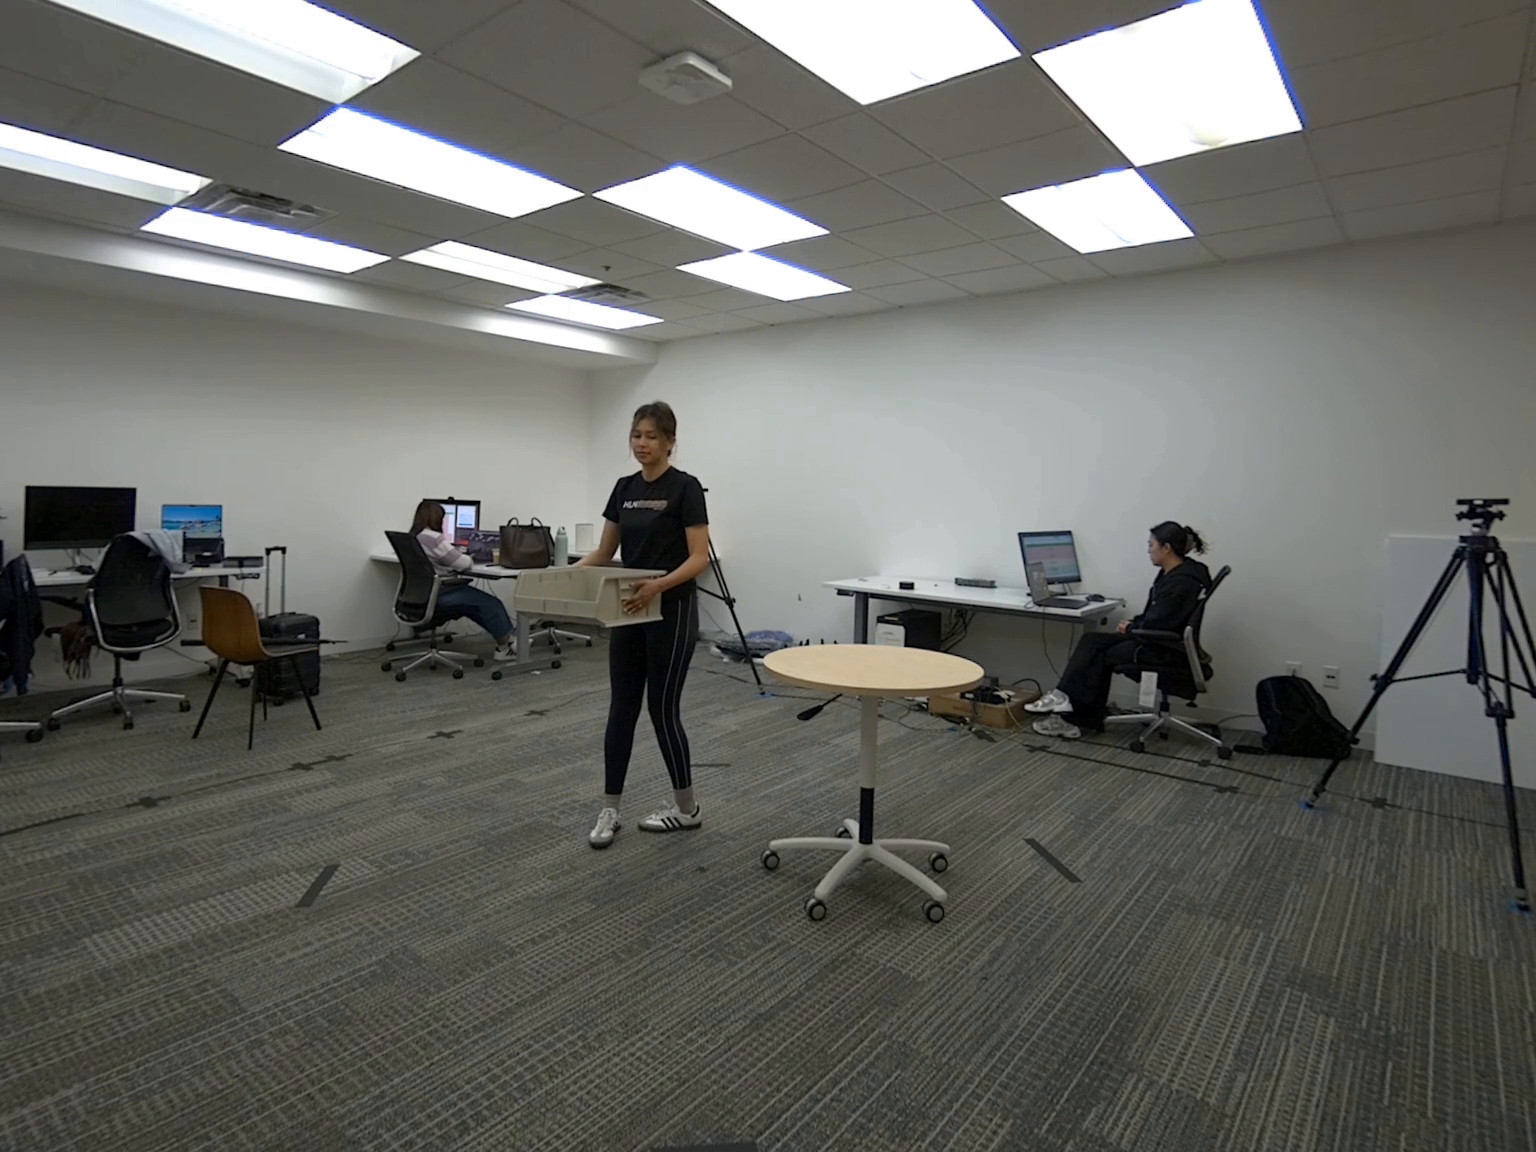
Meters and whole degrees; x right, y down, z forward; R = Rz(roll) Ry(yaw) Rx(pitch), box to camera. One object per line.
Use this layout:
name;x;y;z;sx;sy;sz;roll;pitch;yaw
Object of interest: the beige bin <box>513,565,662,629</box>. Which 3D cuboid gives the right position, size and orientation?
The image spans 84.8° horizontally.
beige bin;-0.665;0.068;3.135;0.435;0.189;0.367;2;3;32
